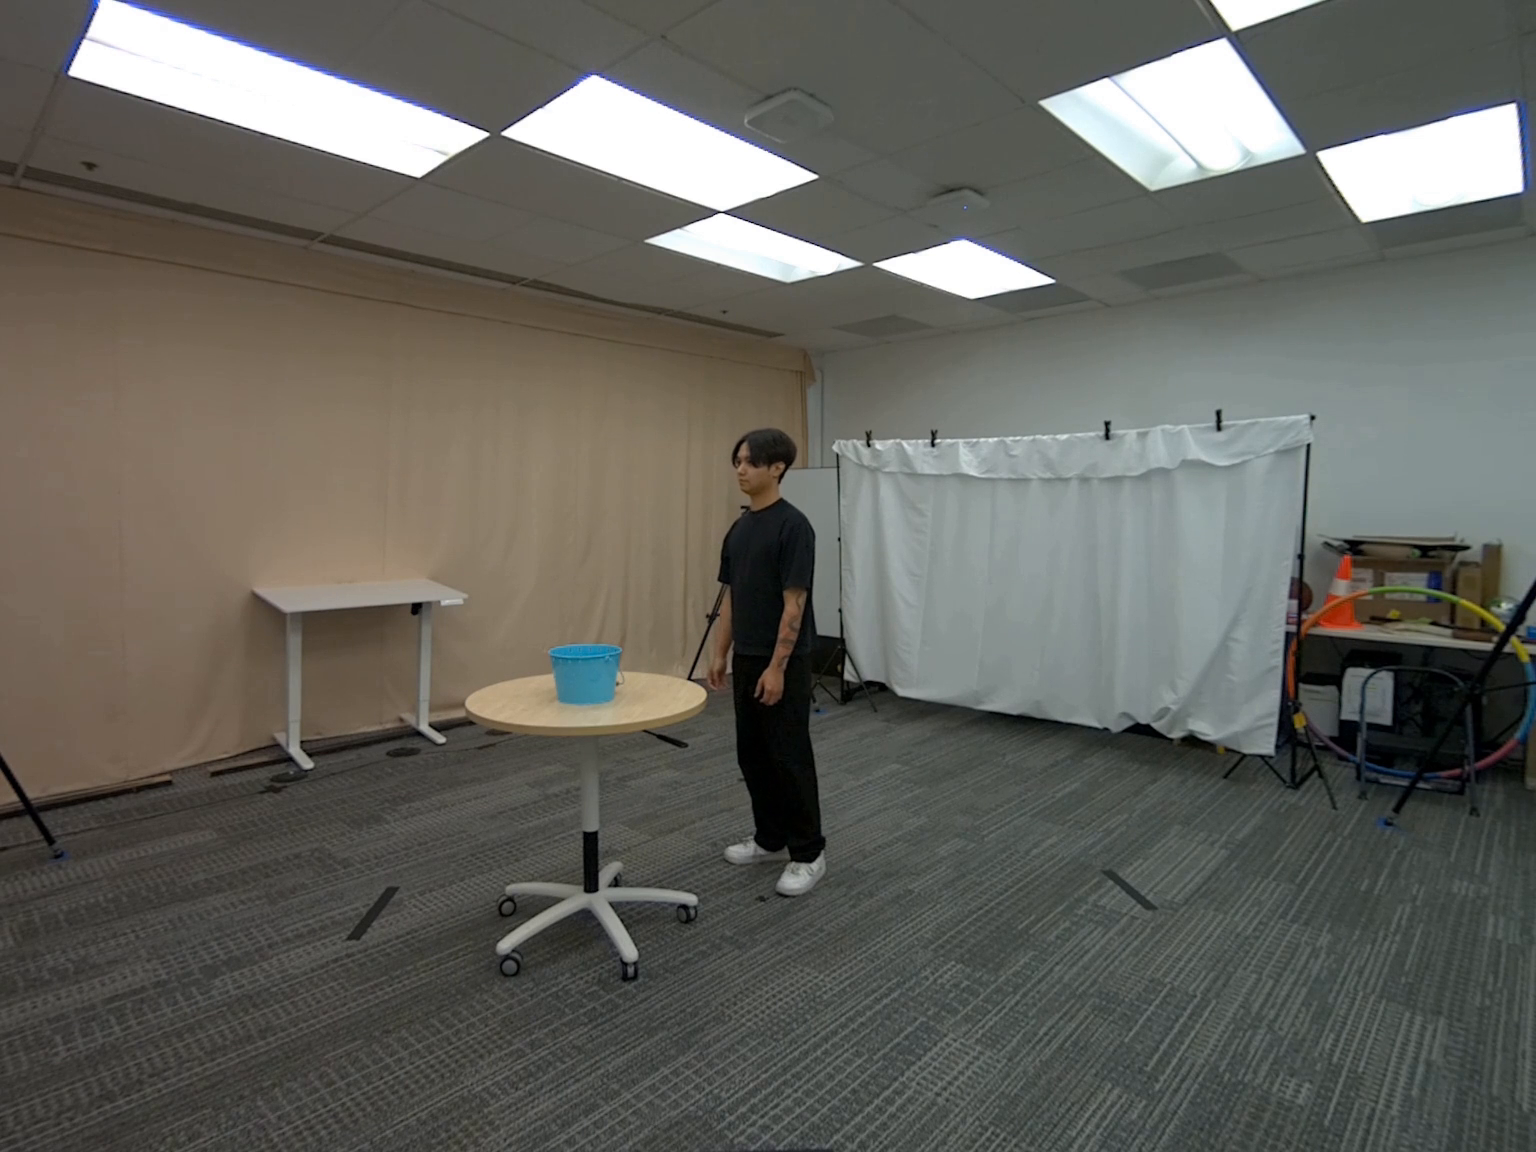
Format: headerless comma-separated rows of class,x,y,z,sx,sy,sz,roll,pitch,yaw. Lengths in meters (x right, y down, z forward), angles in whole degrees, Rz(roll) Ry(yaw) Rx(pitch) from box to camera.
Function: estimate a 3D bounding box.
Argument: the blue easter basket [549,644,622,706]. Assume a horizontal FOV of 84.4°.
blue easter basket,-0.579,0.315,2.669,0.243,0.155,0.244,0,5,-2
